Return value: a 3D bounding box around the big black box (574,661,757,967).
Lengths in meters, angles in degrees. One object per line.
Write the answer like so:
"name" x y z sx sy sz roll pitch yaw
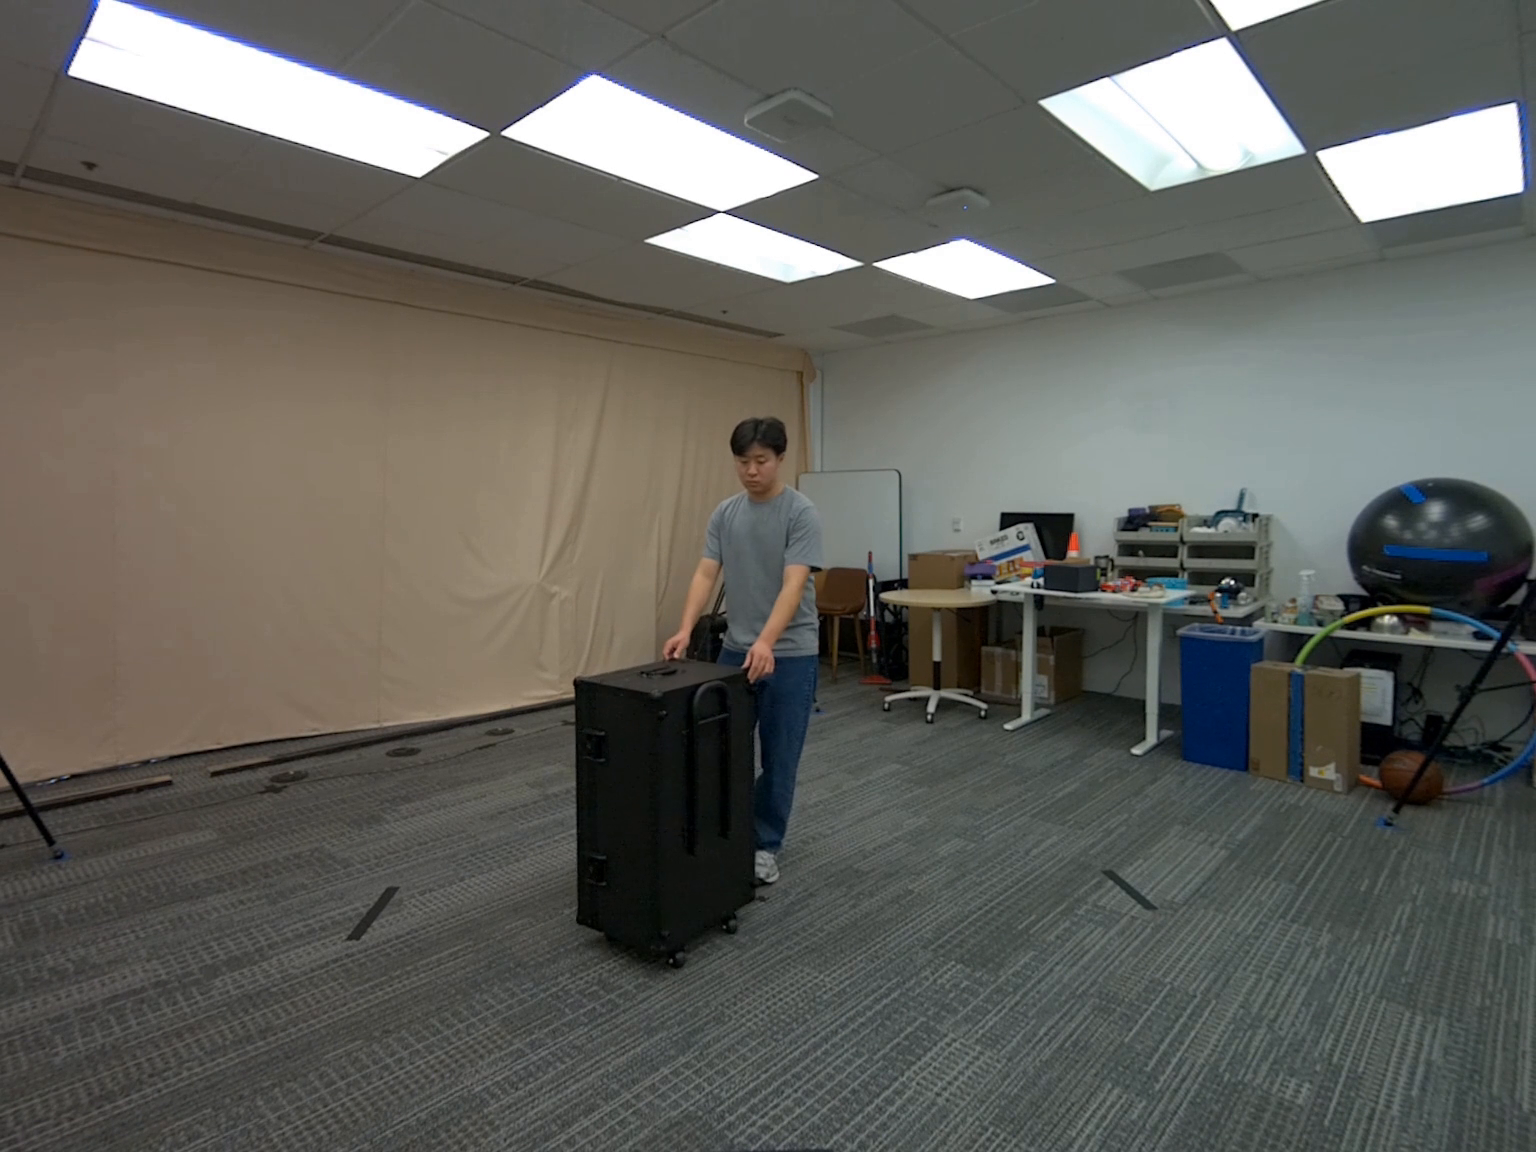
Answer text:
"big black box" -0.311 0.742 2.728 0.409 0.860 0.506 3 4 36
